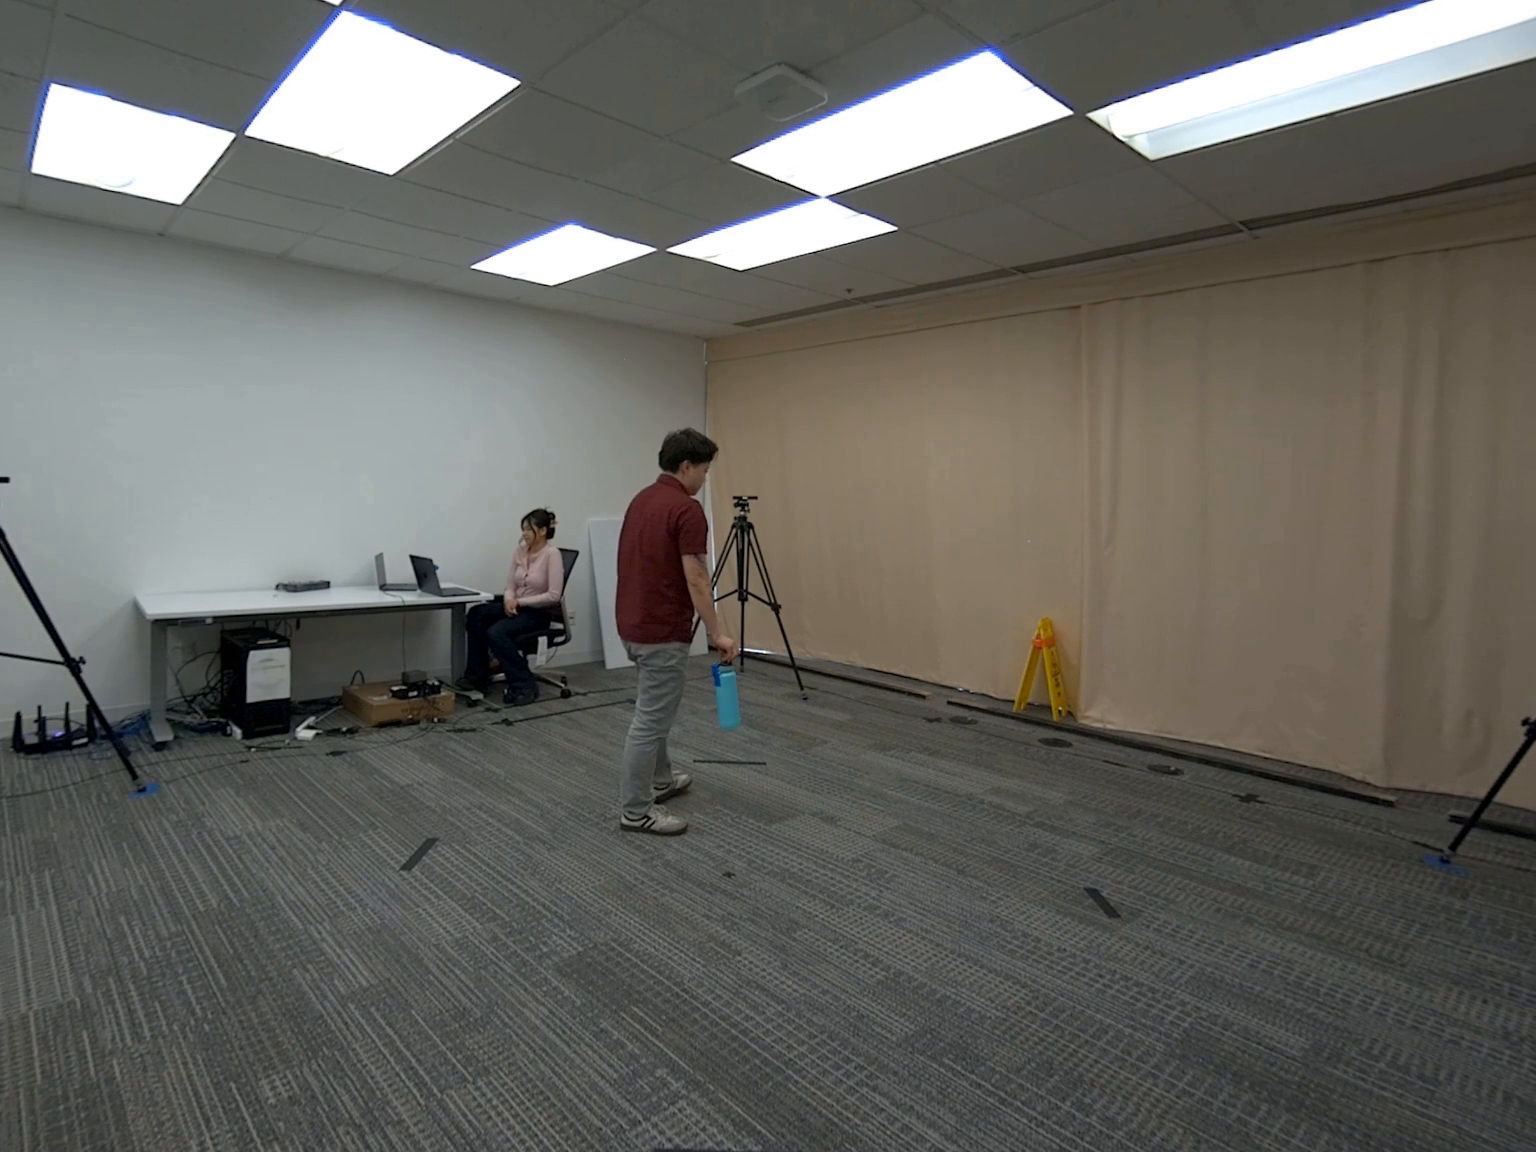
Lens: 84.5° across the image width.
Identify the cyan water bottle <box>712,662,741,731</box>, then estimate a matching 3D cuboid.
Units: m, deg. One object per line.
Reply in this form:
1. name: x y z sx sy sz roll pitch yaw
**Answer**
1. cyan water bottle: -0.188 0.474 3.419 0.092 0.283 0.092 -2 3 -1
